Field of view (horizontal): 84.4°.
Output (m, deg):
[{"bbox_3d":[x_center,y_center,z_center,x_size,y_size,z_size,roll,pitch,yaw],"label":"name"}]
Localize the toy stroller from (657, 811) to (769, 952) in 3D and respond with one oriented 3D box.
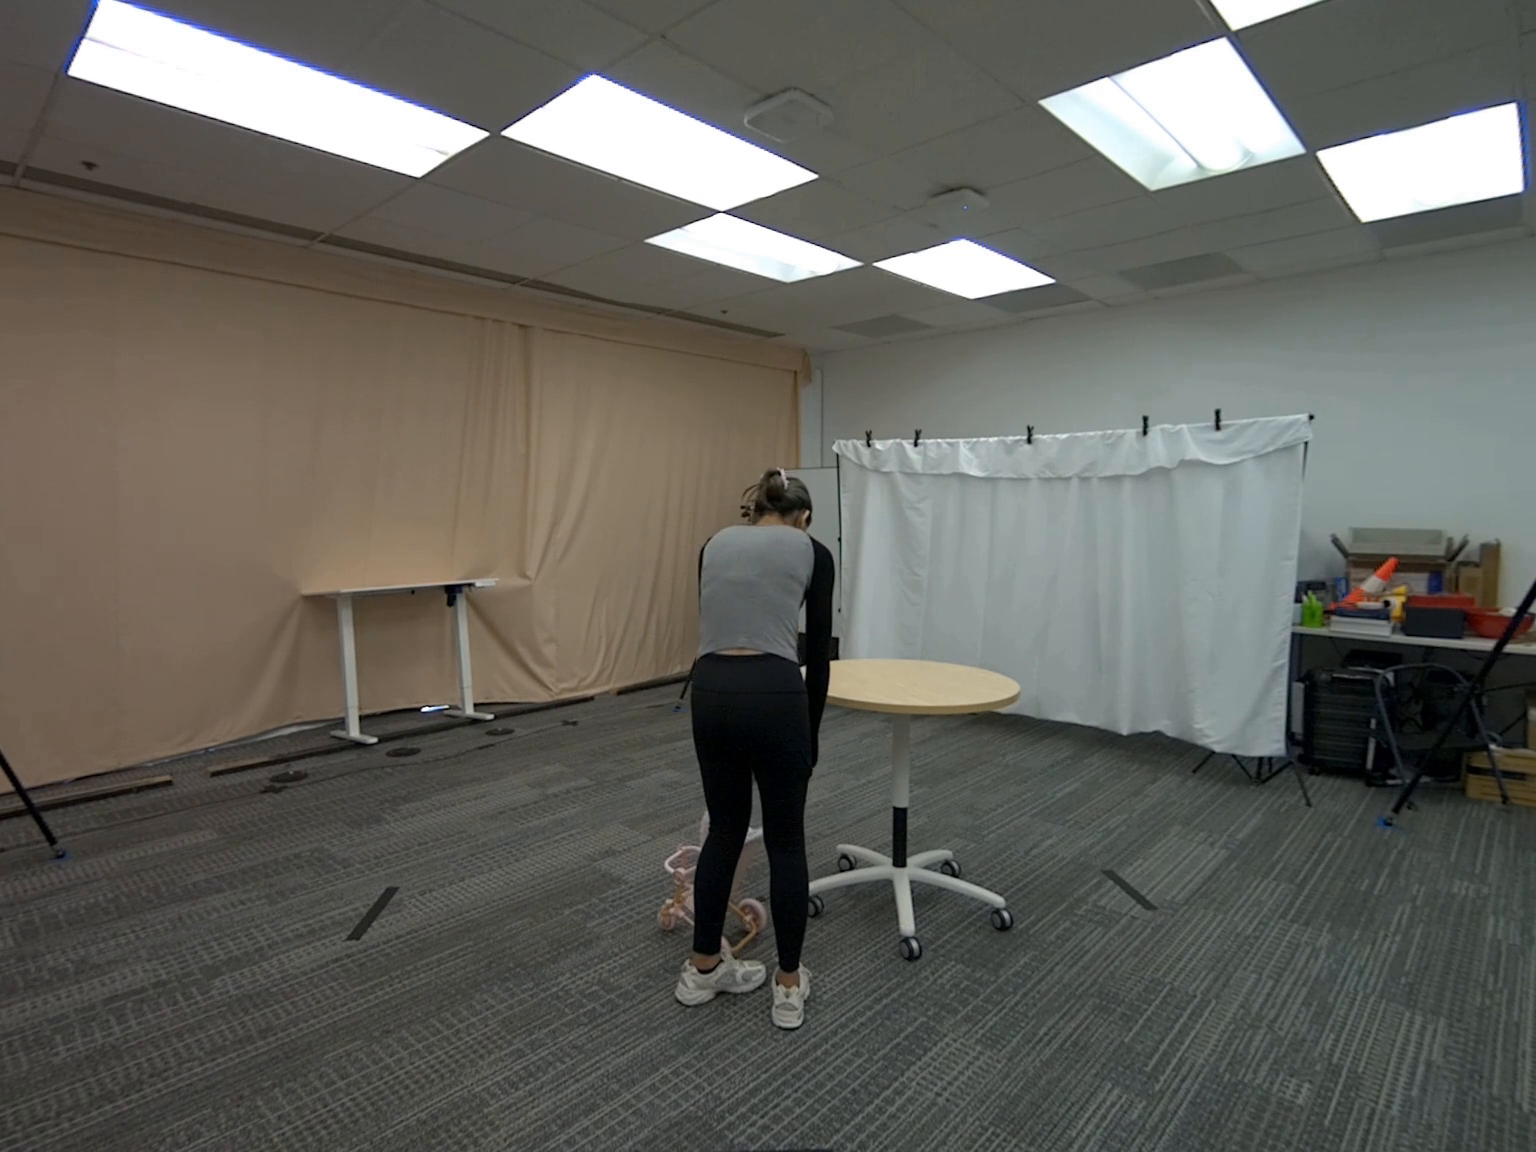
[{"bbox_3d":[-0.162,0.945,2.666,0.352,0.533,0.273,19,12,29],"label":"toy stroller"}]
